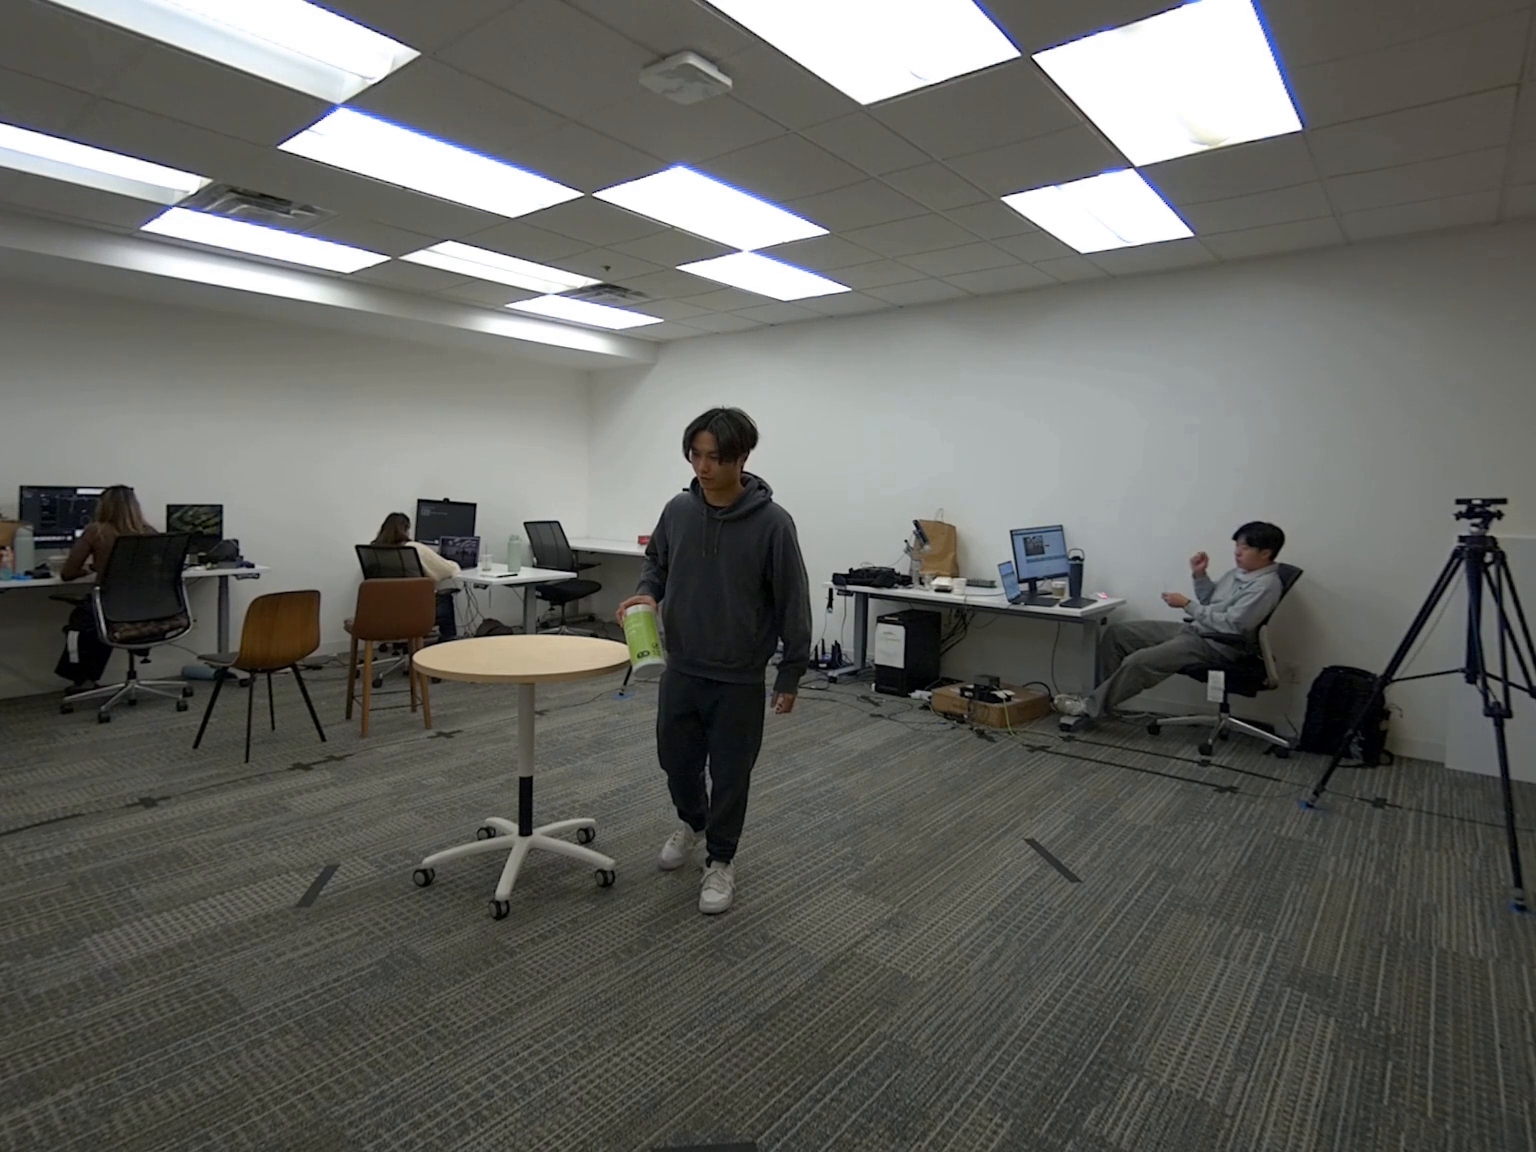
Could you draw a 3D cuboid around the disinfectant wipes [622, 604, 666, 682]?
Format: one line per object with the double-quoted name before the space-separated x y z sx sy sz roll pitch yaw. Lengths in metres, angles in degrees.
"disinfectant wipes" -0.406 0.209 2.722 0.117 0.224 0.115 -11 -27 -7
